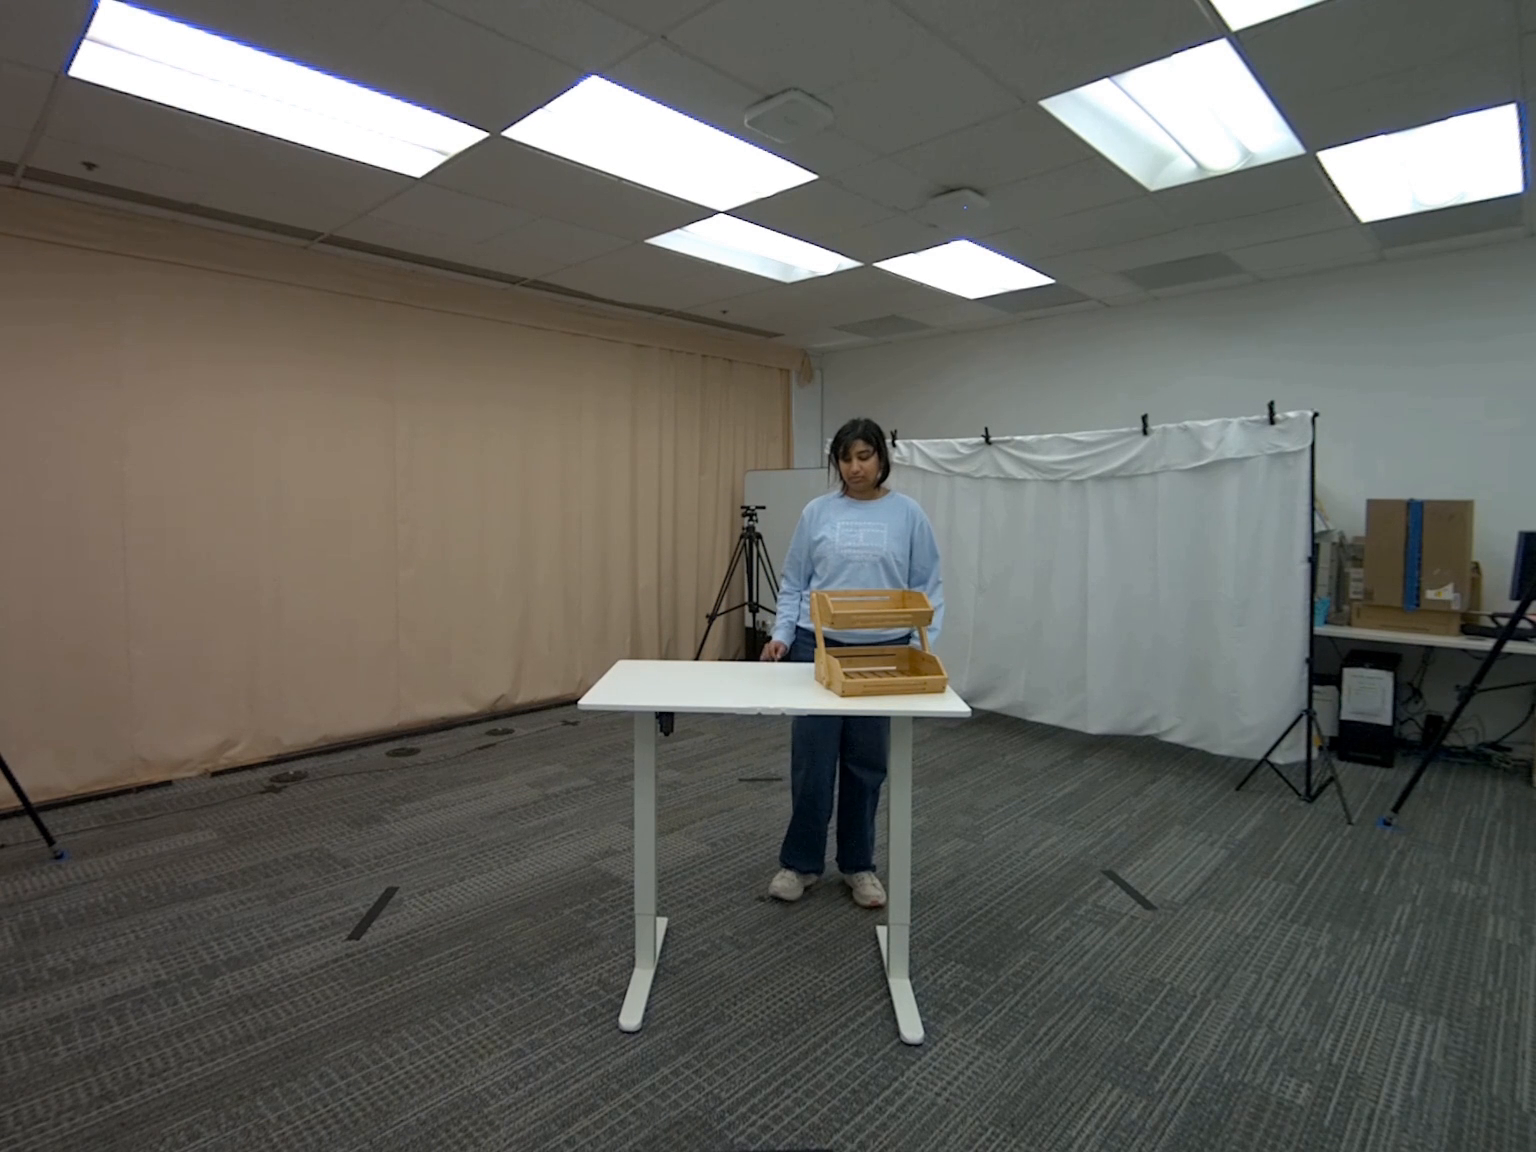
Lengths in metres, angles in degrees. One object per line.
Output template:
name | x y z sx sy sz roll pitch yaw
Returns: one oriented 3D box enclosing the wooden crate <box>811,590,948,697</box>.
wooden crate | 0.311 0.178 2.400 0.320 0.273 0.307 -1 4 -13
